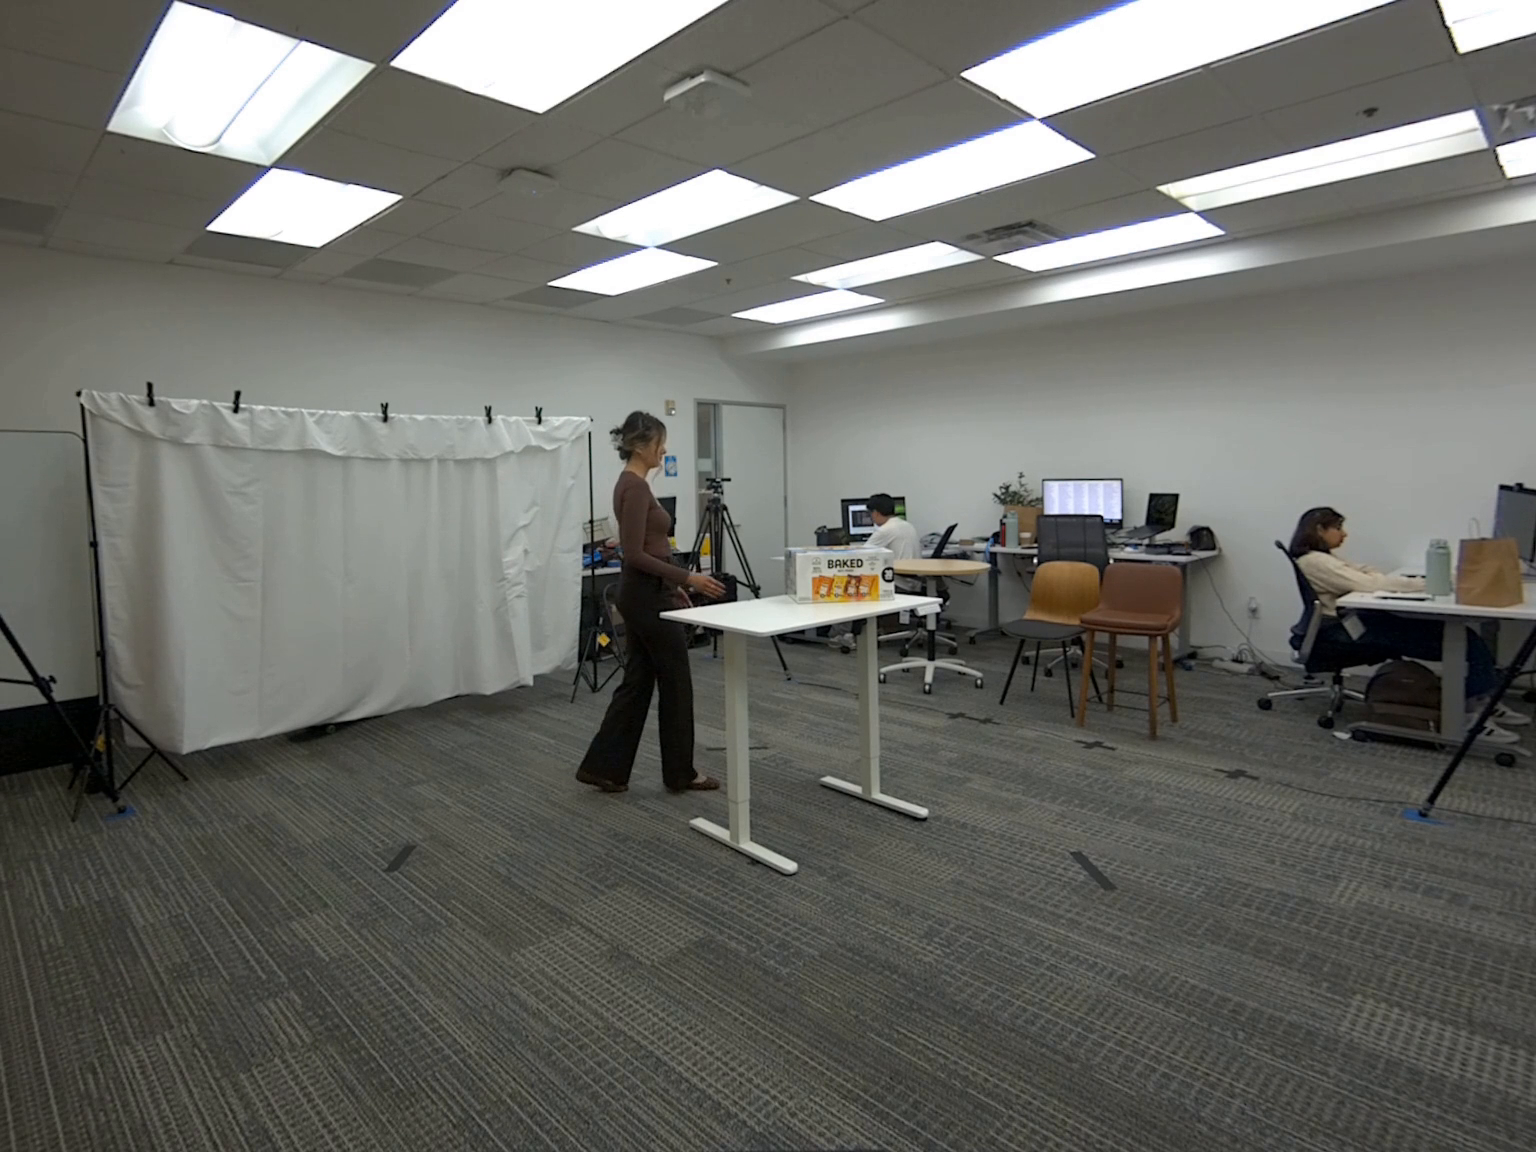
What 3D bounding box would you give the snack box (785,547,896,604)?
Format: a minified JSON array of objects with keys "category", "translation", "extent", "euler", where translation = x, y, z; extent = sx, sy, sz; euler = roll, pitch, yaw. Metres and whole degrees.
[{"category":"snack box","translation":[0.299,-0.010,3.643],"extent":[0.403,0.205,0.343],"euler":[-2,5,-5]}]
